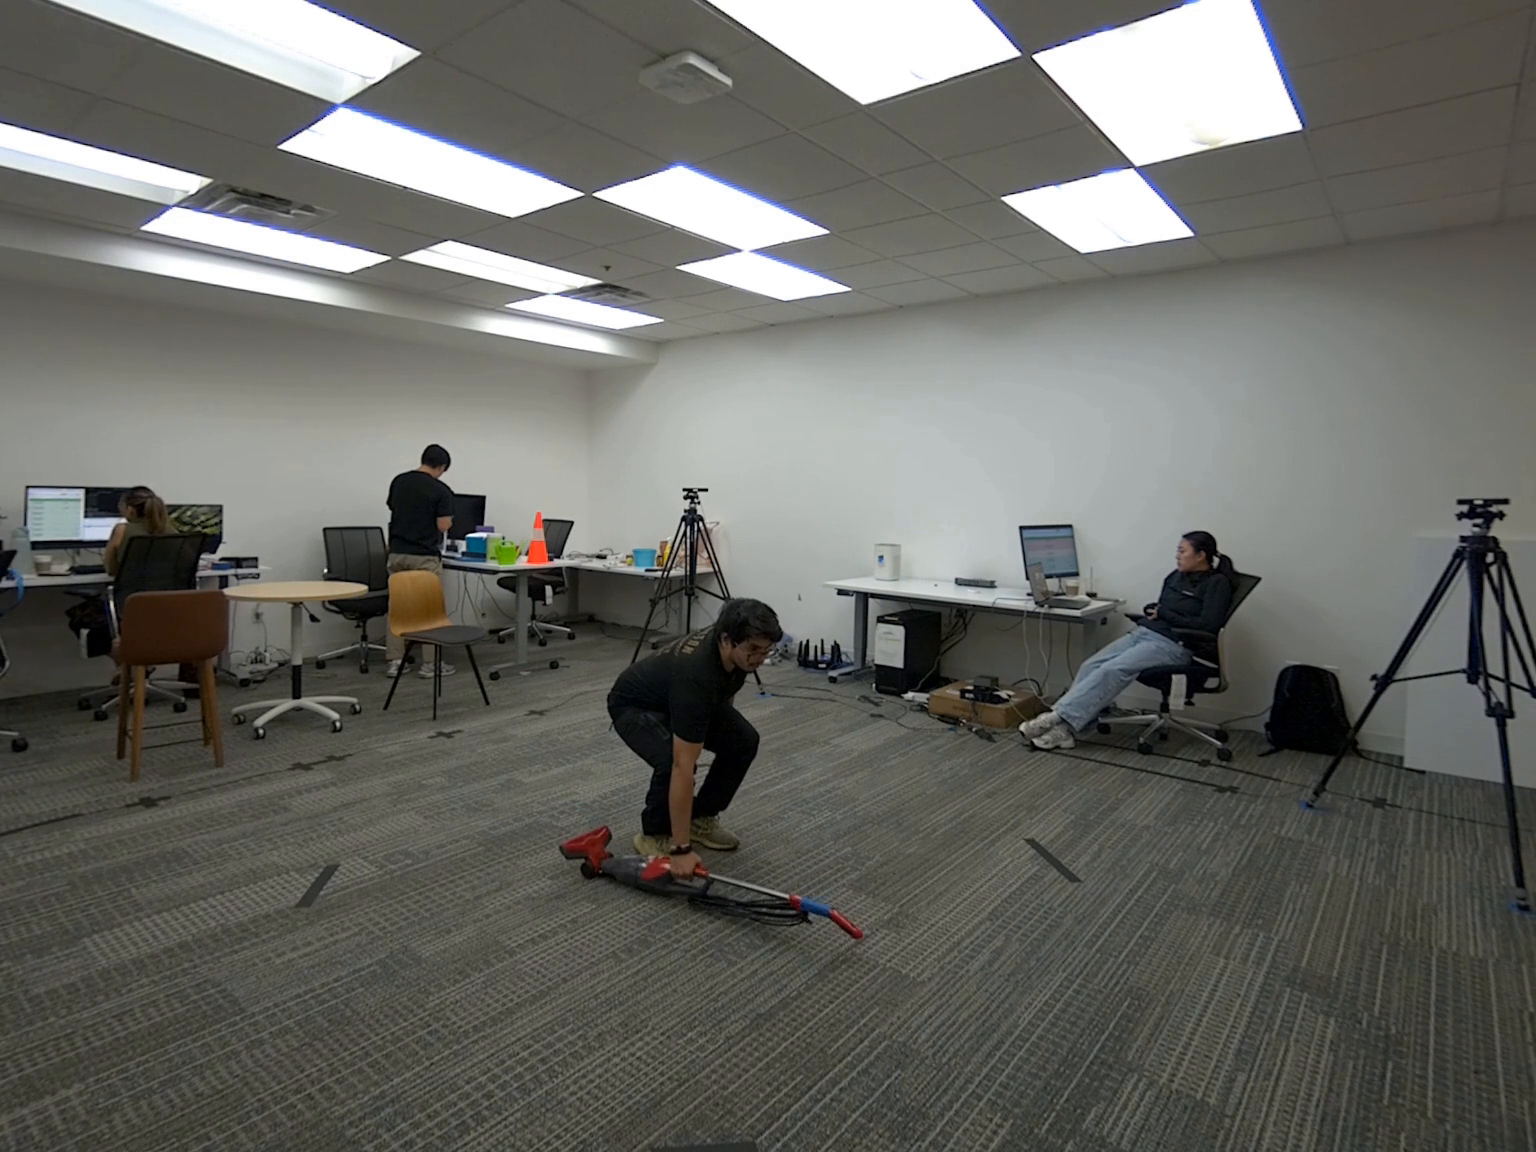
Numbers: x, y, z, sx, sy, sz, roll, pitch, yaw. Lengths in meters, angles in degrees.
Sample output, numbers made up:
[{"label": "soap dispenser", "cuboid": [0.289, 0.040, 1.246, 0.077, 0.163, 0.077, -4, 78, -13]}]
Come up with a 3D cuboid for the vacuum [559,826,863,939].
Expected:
[{"label": "vacuum", "cuboid": [-0.195, 1.029, 2.800, 1.081, 0.144, 0.245, 4, 4, 31]}]
